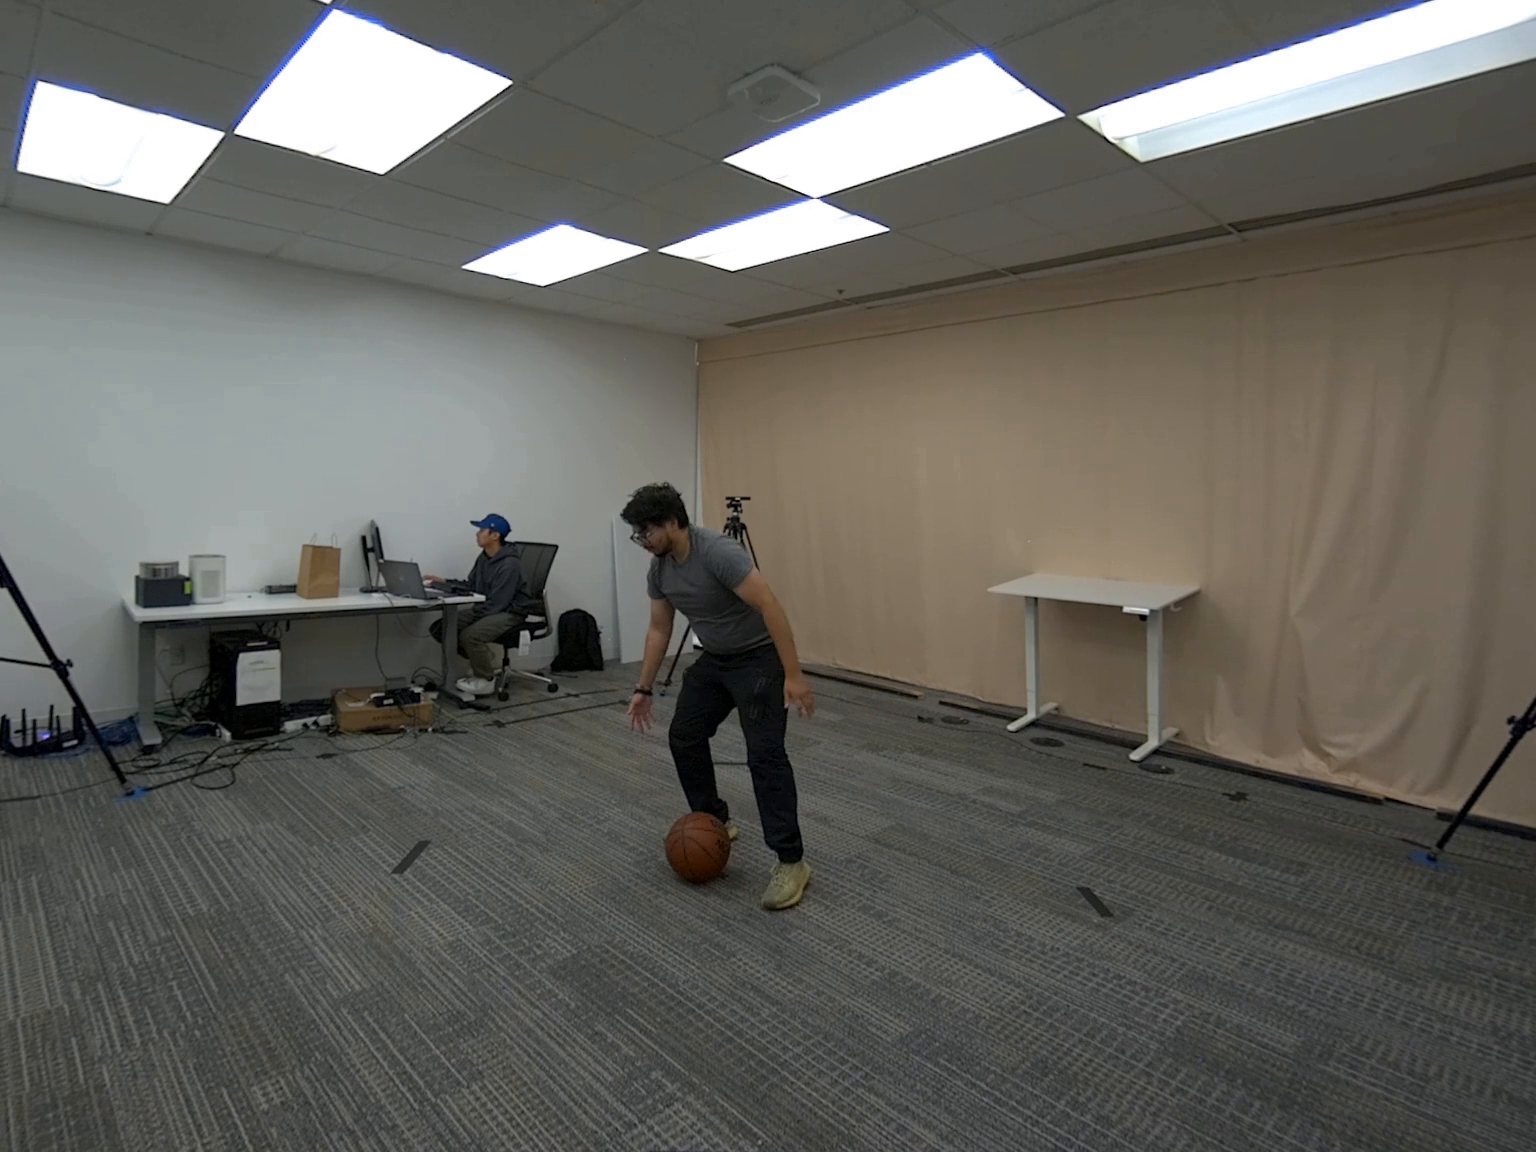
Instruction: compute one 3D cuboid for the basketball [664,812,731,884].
[{"bbox_3d":[-0.266,0.987,3.074,0.236,0.235,0.237,1,4,-1],"label":"basketball"}]
